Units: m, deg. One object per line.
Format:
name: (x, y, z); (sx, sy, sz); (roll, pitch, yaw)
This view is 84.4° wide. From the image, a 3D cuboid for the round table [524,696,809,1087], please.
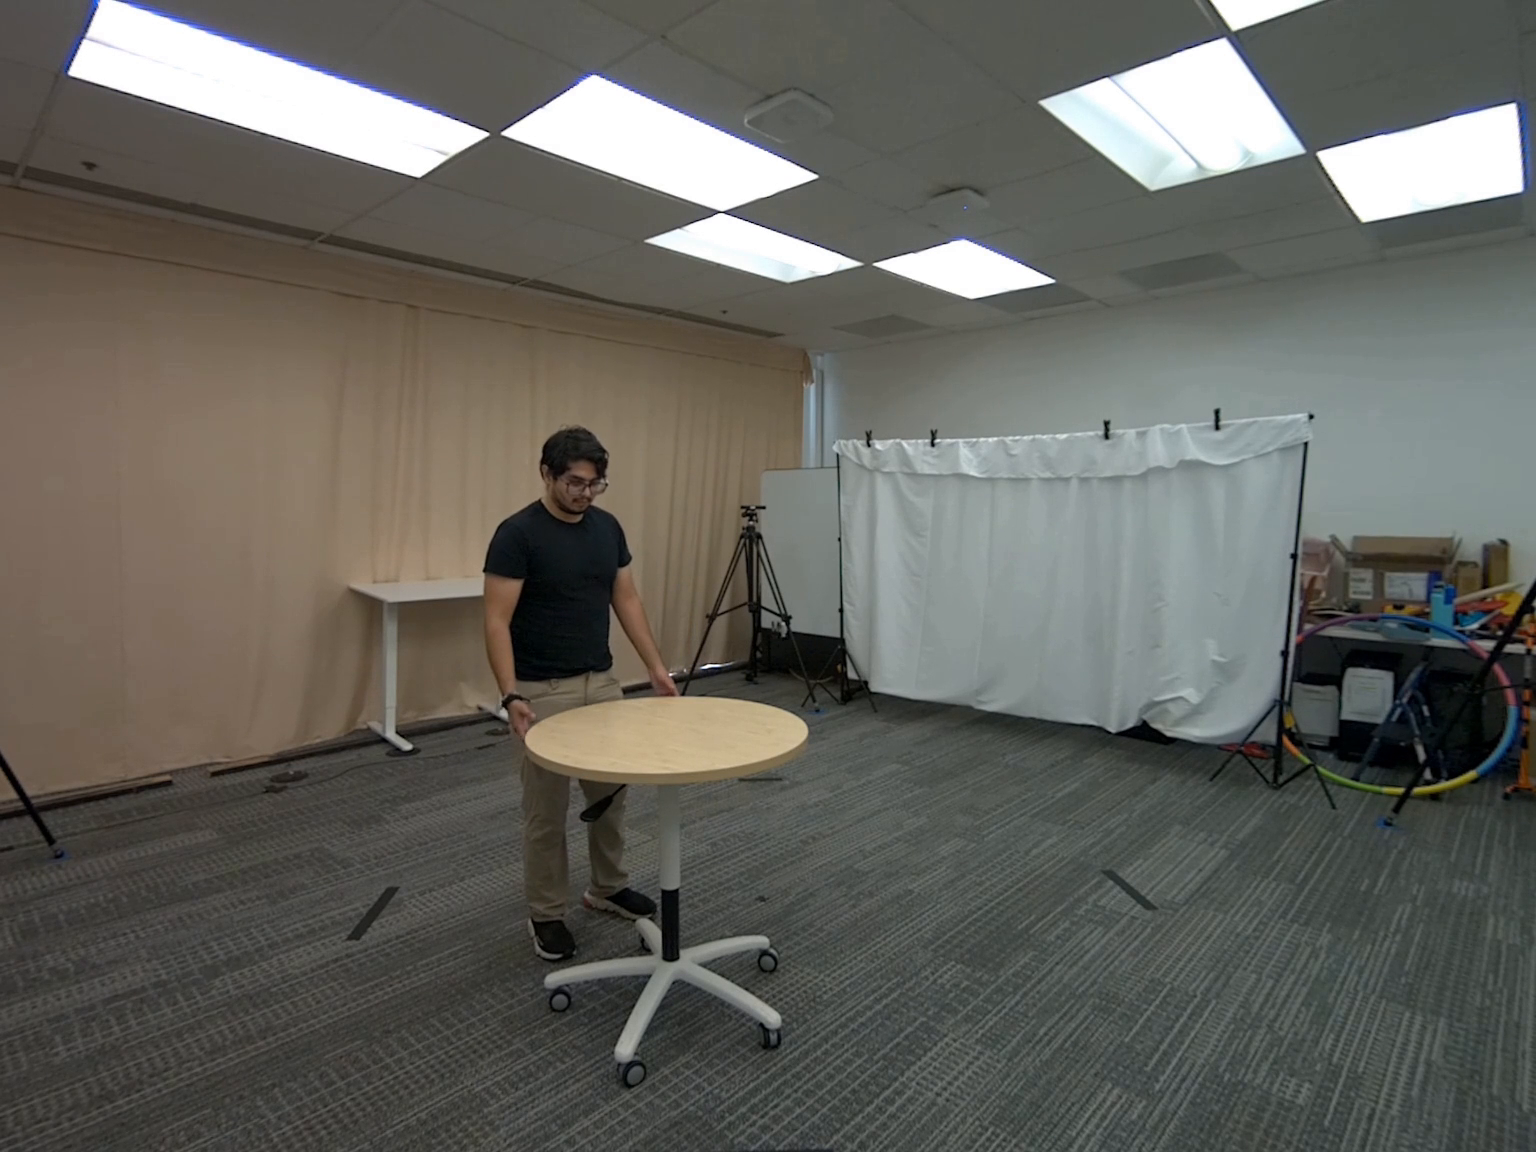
round table: (-0.270, 0.808, 2.311); (0.784, 0.785, 0.788); (-1, 4, -2)
